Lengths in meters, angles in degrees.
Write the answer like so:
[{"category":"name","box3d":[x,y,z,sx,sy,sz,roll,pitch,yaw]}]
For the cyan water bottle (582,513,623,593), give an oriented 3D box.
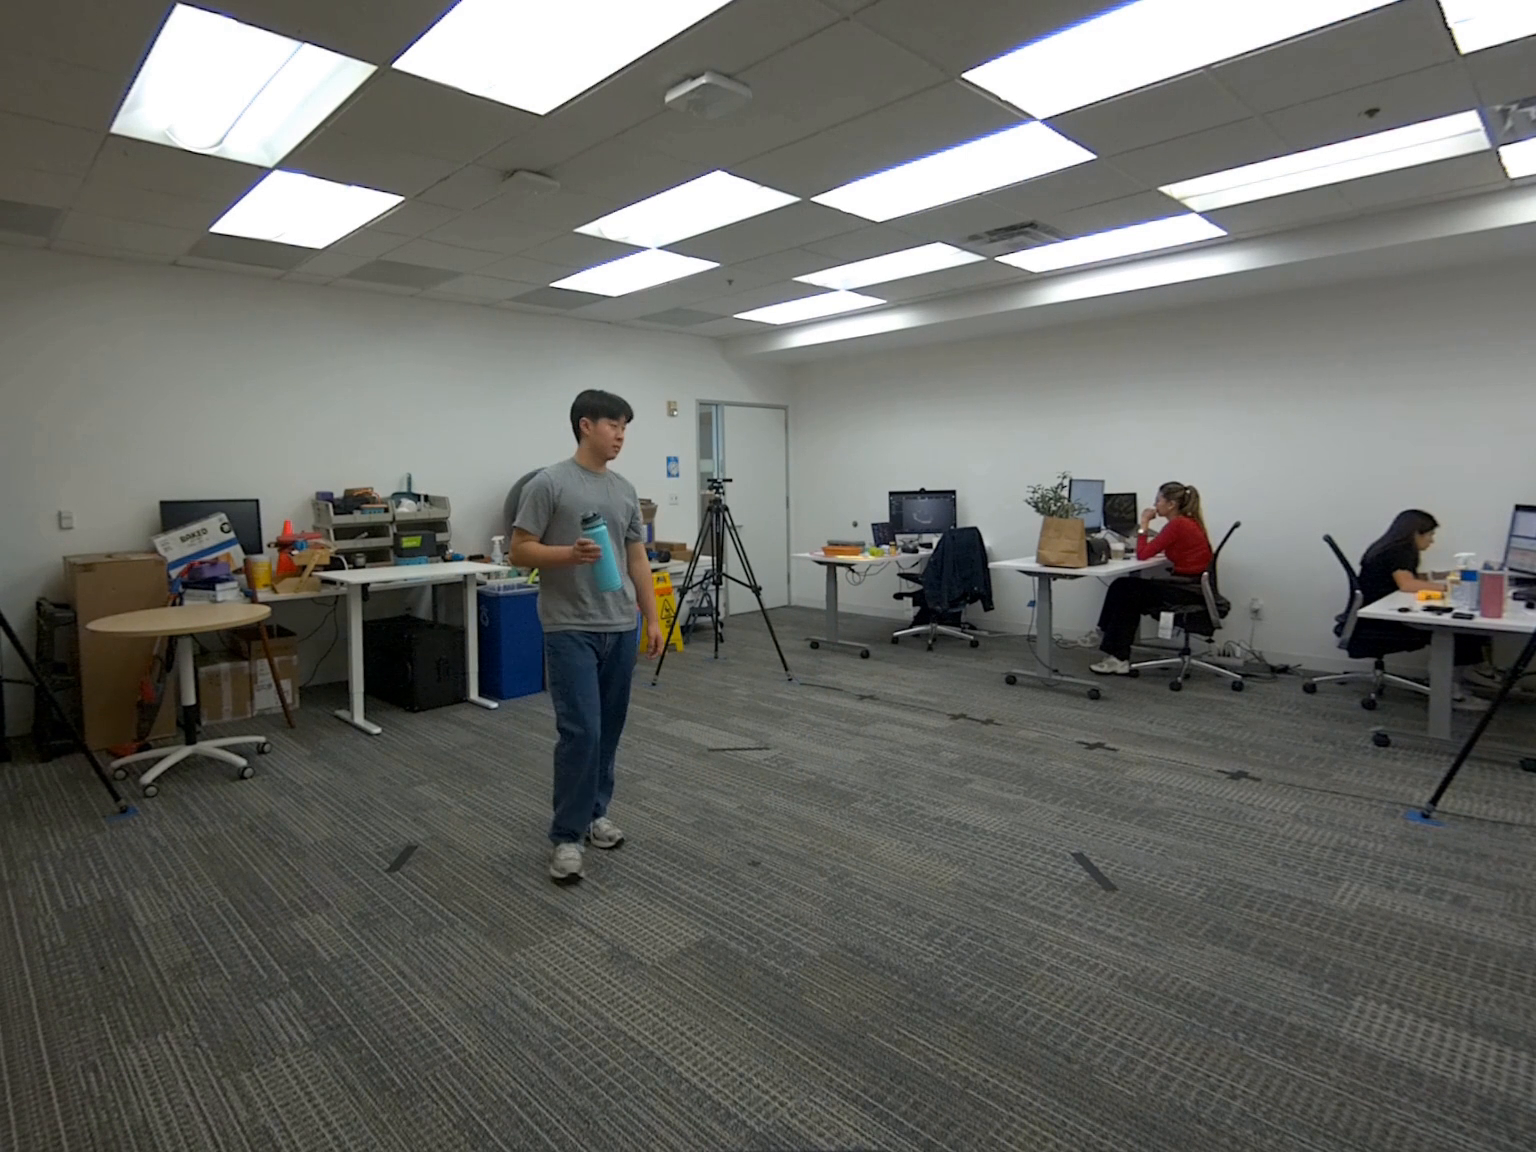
[{"category":"cyan water bottle","box3d":[-0.594,-0.081,2.961,0.092,0.280,0.093,-11,11,1]}]
